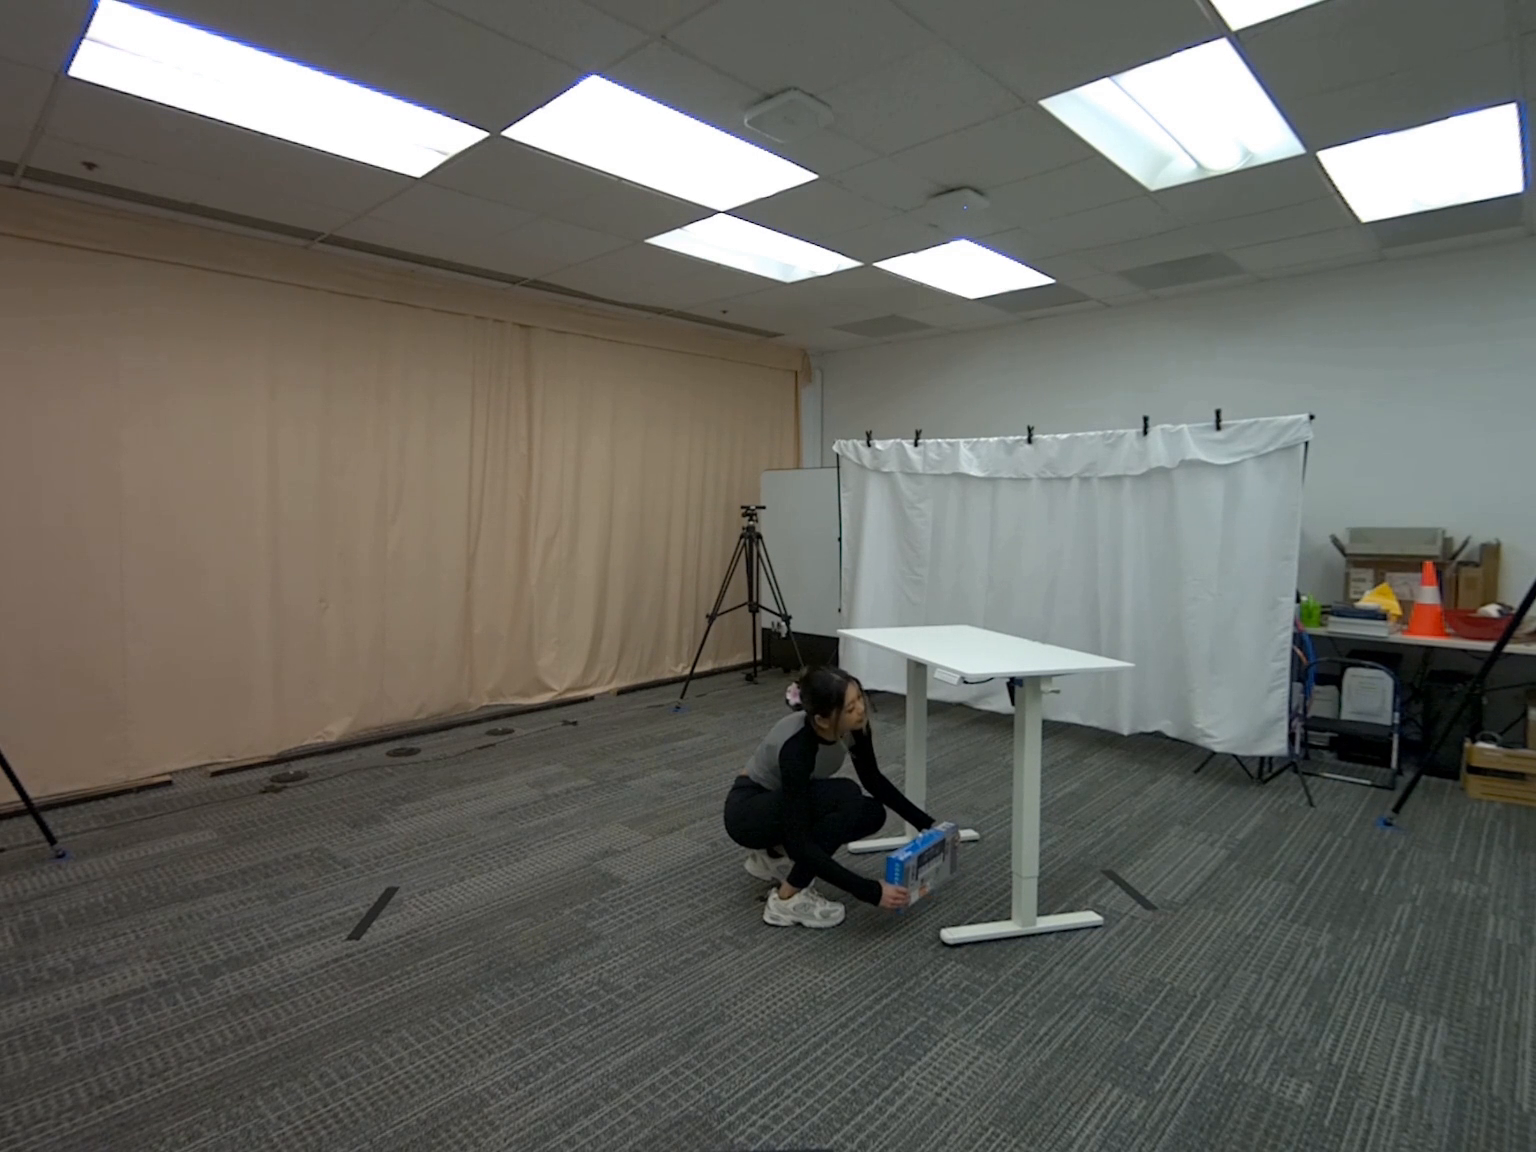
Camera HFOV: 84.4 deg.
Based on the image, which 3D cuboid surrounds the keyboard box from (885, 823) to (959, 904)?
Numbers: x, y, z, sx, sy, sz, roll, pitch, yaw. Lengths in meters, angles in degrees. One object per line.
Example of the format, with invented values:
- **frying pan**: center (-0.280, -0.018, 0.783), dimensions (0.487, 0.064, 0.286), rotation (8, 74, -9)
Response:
- **keyboard box**: center (0.533, 0.982, 2.846), dimensions (0.061, 0.176, 0.423), rotation (4, 4, 38)
